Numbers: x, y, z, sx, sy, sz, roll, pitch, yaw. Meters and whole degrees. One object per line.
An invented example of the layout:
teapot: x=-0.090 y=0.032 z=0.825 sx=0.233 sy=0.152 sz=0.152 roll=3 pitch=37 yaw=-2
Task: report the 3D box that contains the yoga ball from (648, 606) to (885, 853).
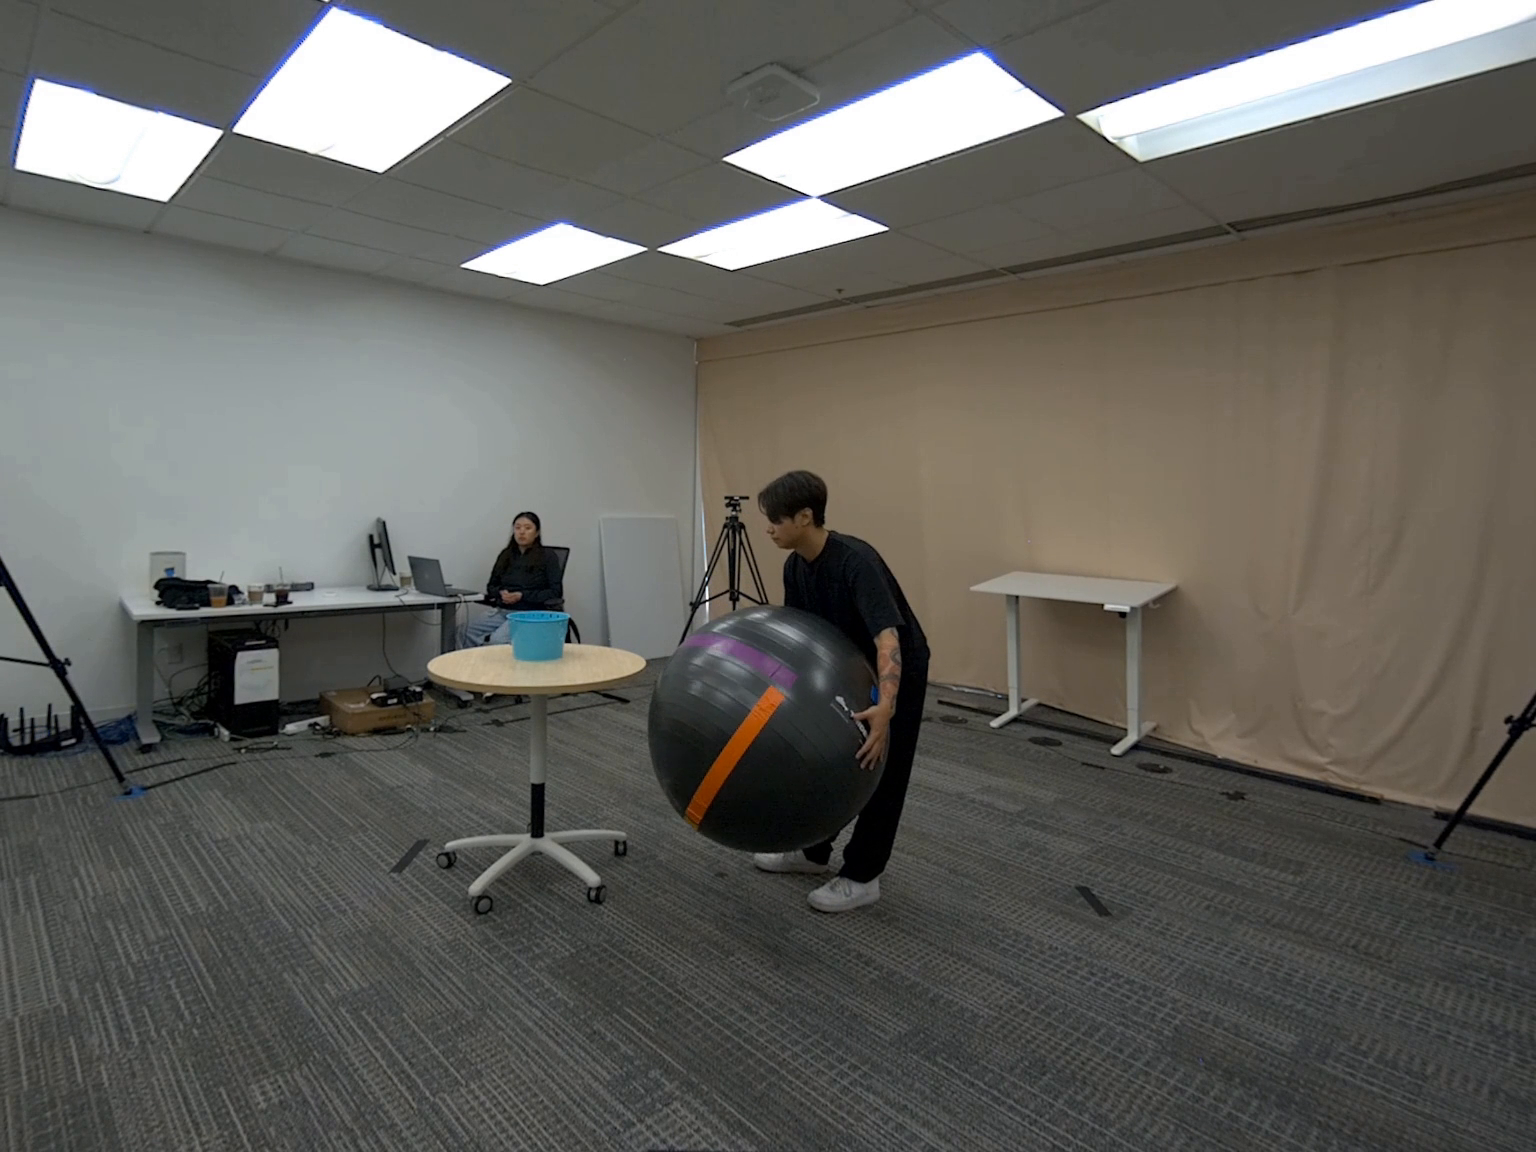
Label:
yoga ball: x=-0.002 y=0.487 z=2.655 sx=0.757 sy=0.756 sz=0.761 roll=1 pitch=4 yaw=-1
